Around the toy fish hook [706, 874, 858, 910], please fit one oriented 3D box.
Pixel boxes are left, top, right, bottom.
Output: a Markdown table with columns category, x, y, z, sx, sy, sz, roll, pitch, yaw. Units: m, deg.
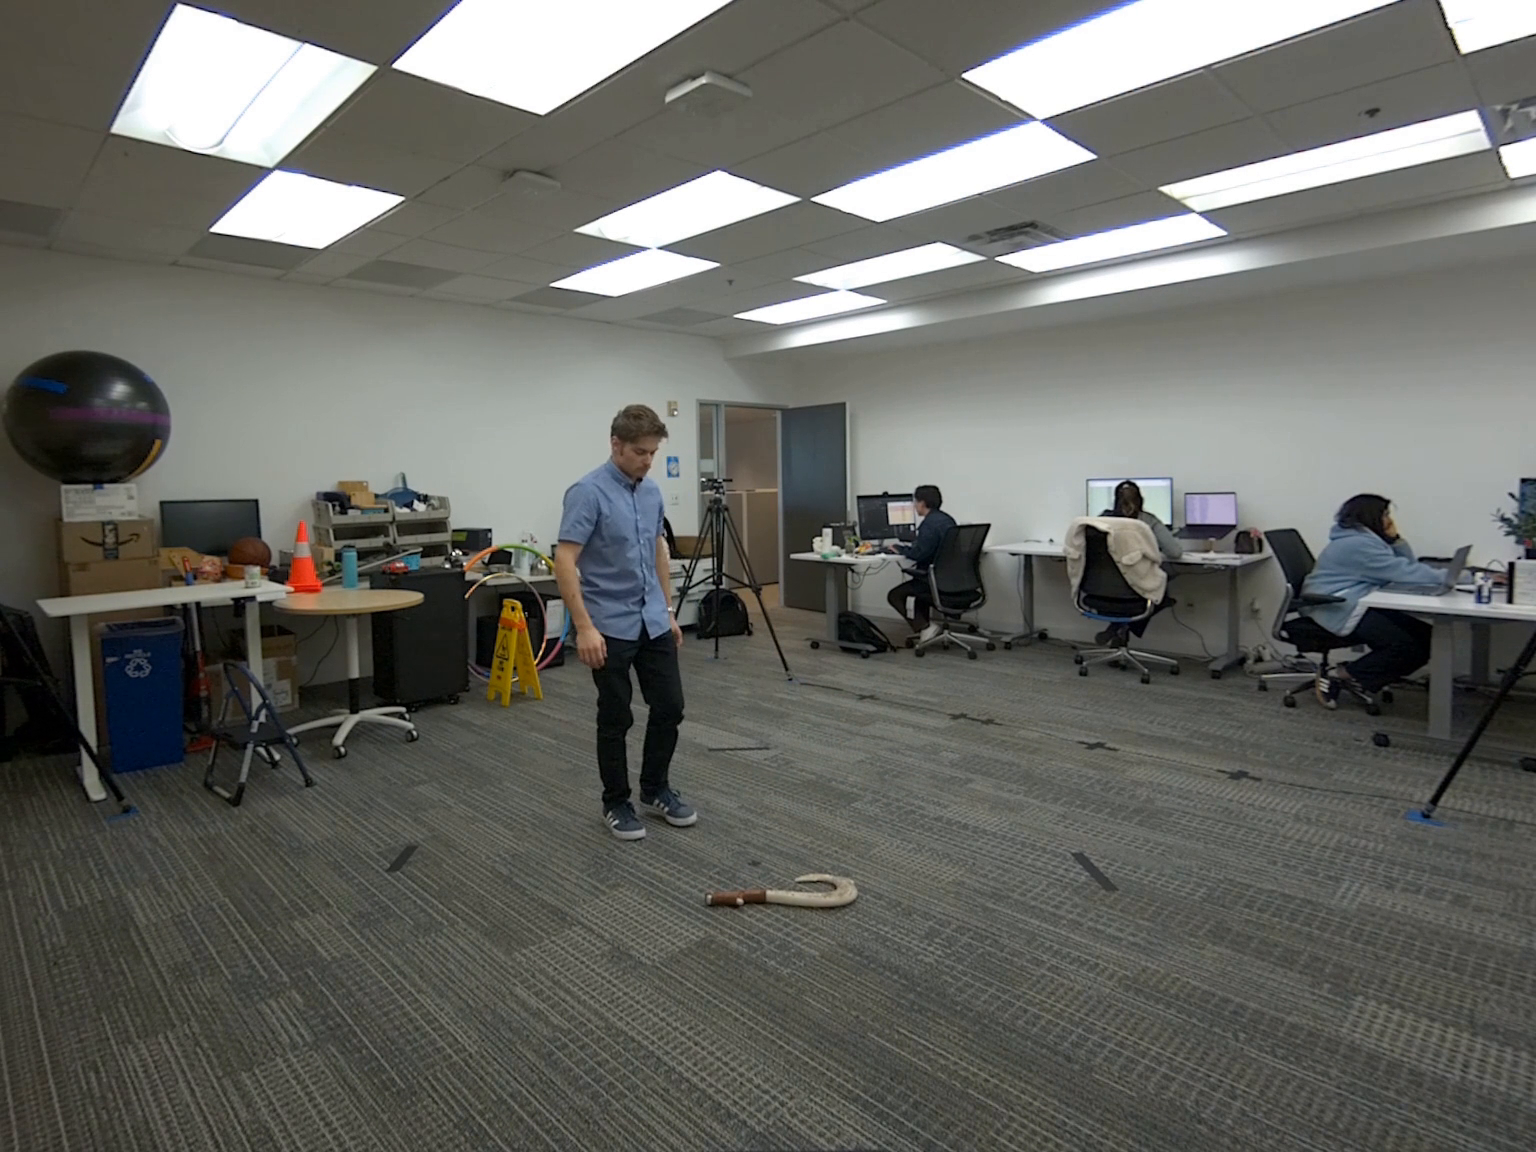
| category | x | y | z | sx | sy | sz | roll | pitch | yaw |
| --- | --- | --- | --- | --- | --- | --- | --- | --- | --- |
| toy fish hook | 0.047 | 1.055 | 2.863 | 0.506 | 0.048 | 0.224 | -1 | -1 | -2 |
